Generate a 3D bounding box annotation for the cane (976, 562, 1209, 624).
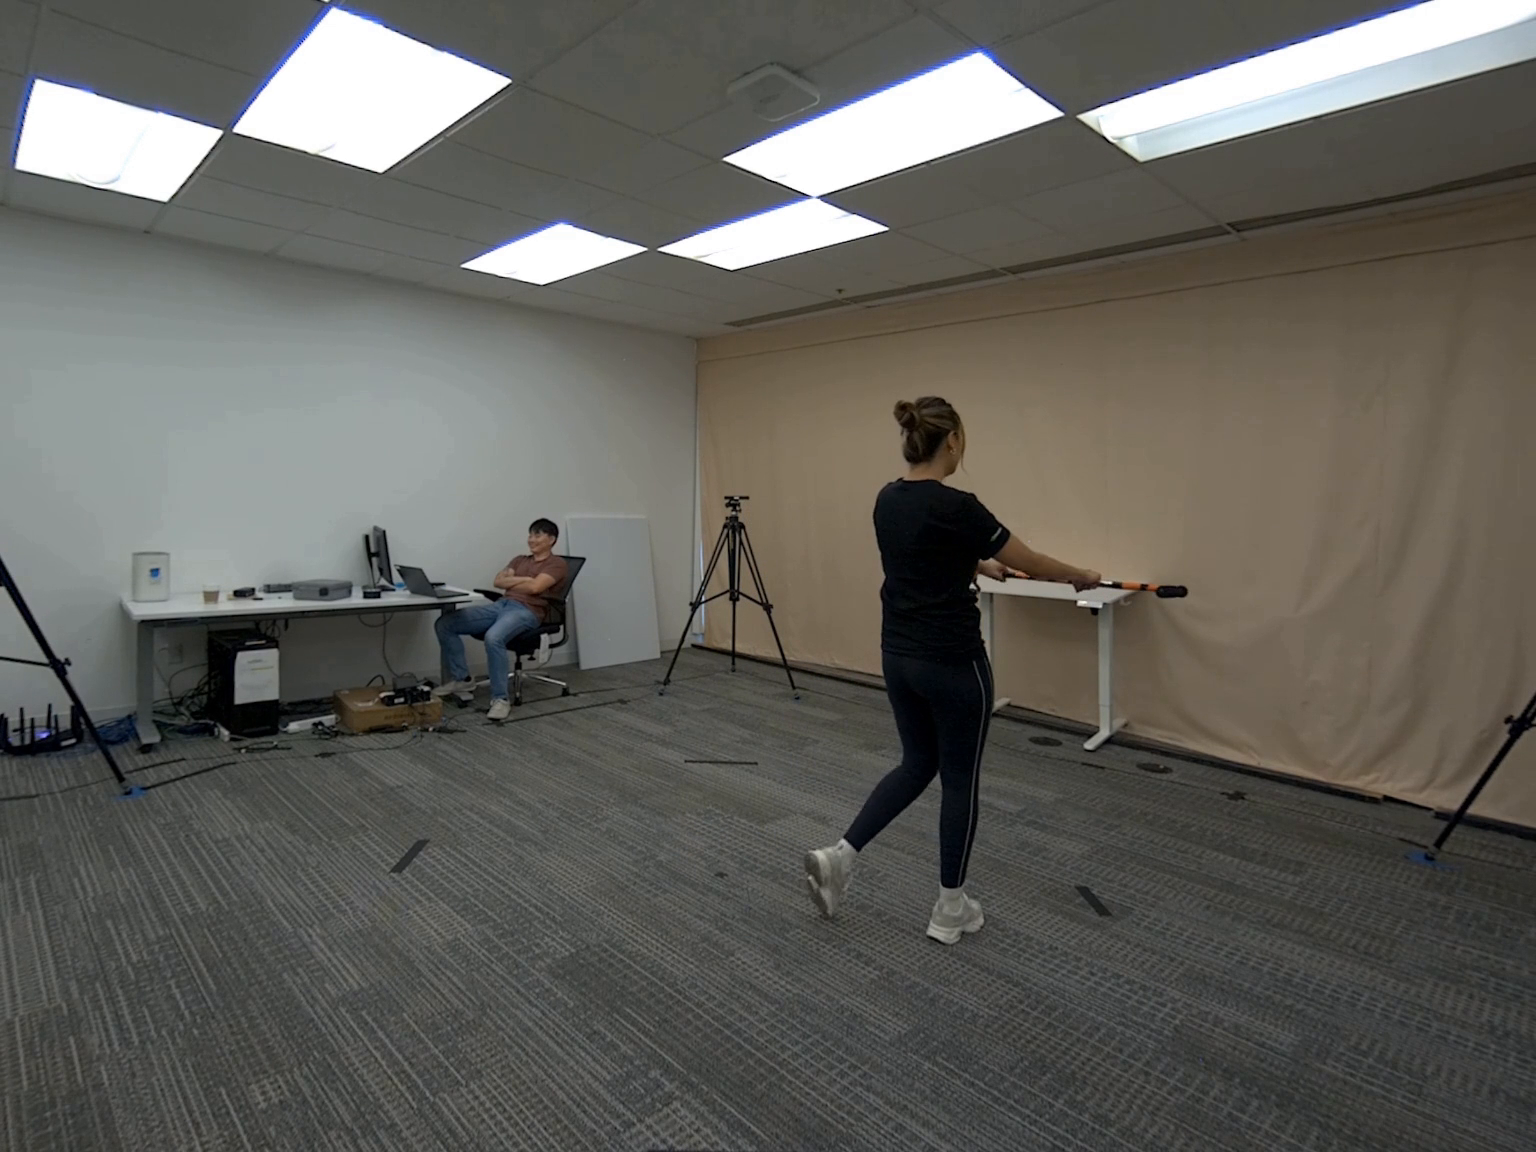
[{"bbox_3d":[0.967,0.026,2.850,0.202,0.151,0.929,3,2,-32],"label":"cane"}]
